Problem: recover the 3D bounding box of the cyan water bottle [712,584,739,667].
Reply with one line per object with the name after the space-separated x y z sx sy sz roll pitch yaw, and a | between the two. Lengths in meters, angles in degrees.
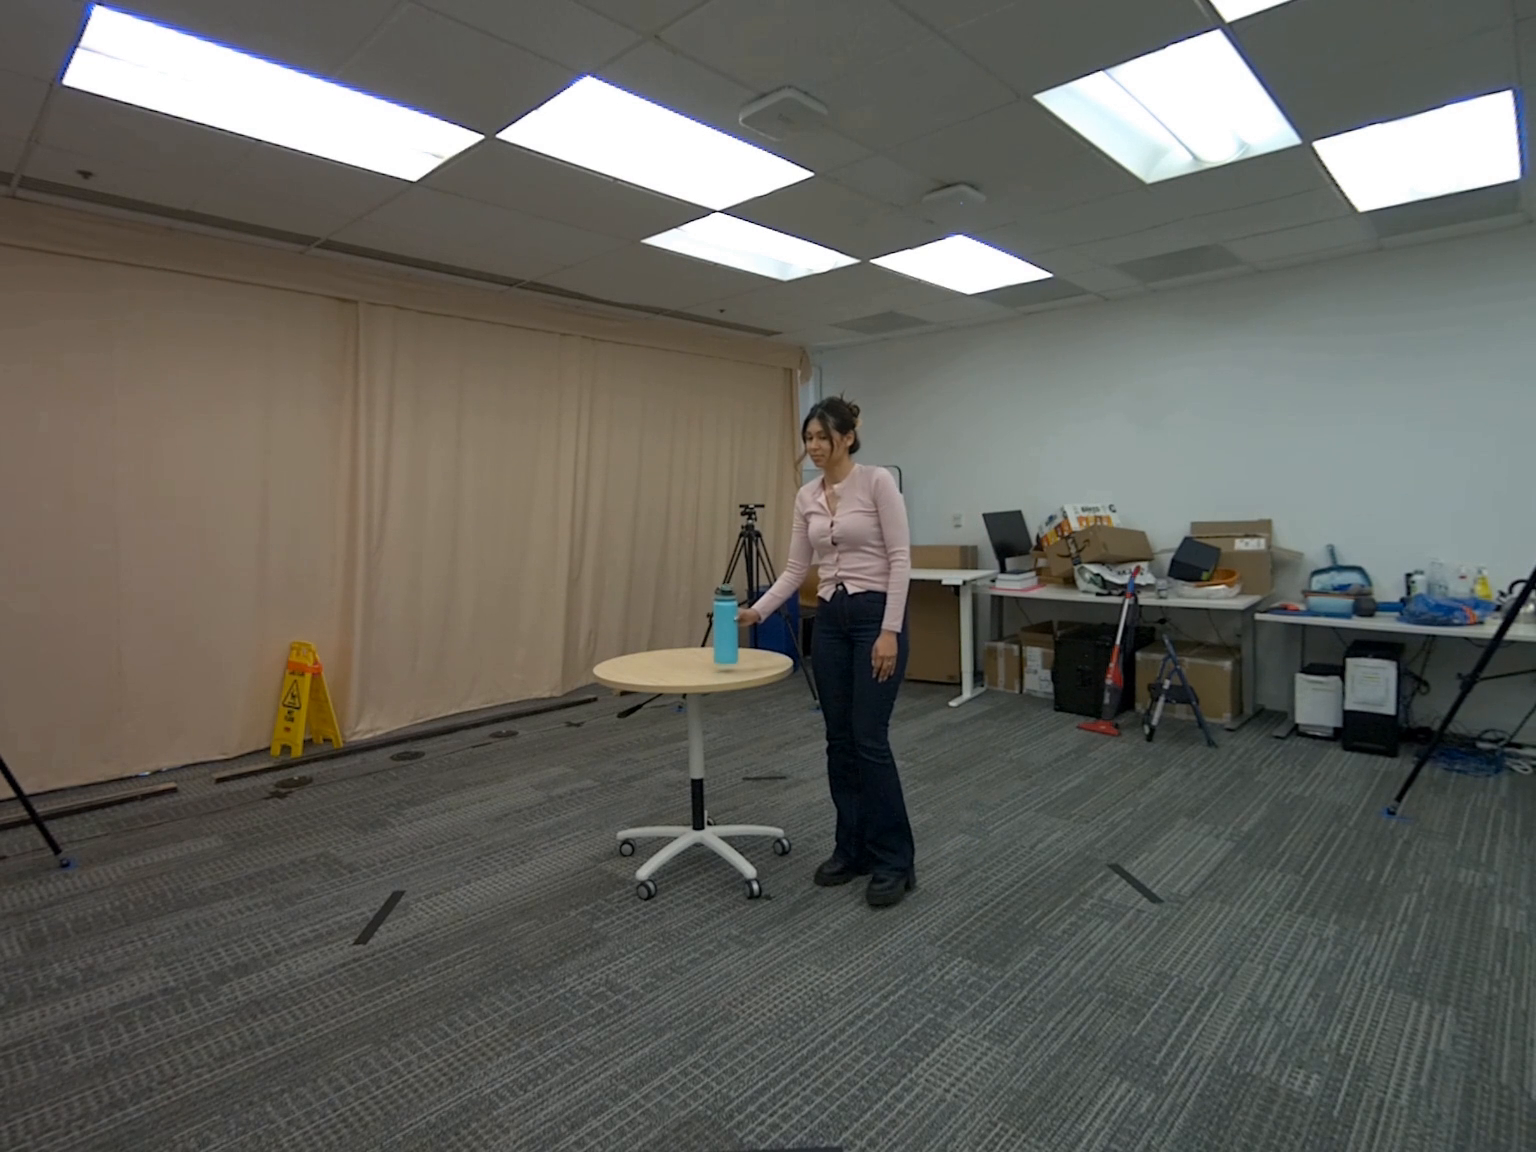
-0.142 0.176 3.052 0.092 0.283 0.092 -1 3 -2 | cyan water bottle
